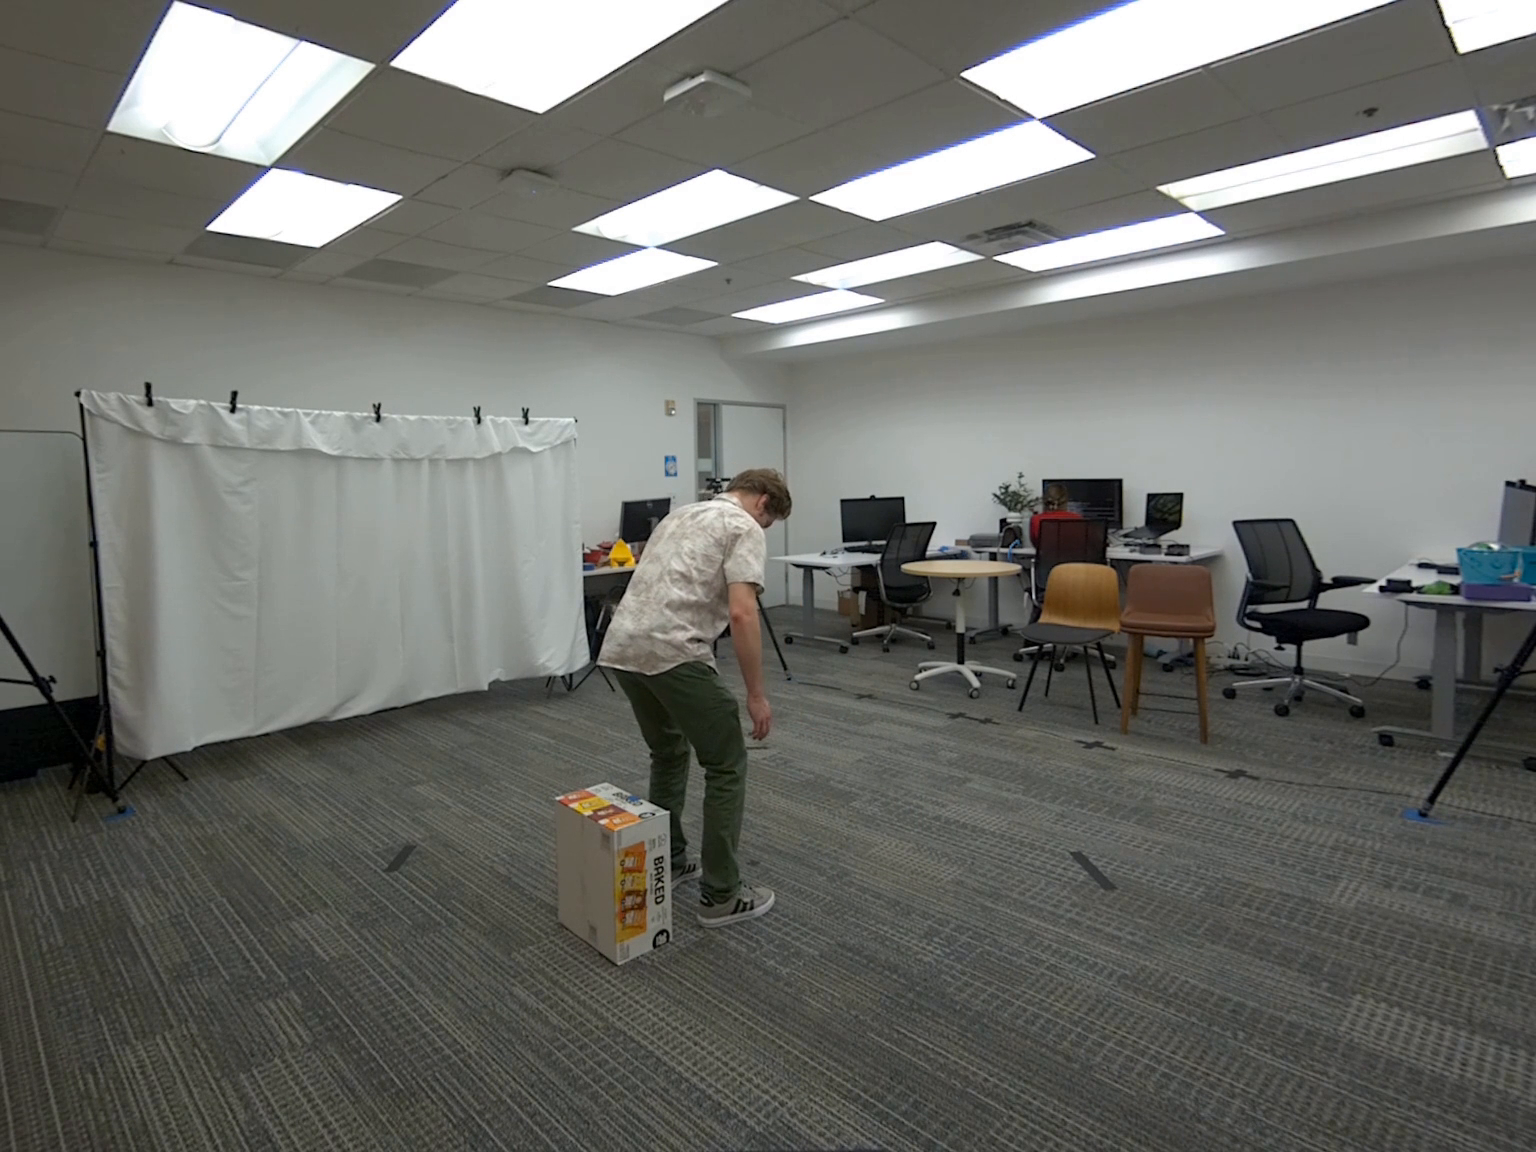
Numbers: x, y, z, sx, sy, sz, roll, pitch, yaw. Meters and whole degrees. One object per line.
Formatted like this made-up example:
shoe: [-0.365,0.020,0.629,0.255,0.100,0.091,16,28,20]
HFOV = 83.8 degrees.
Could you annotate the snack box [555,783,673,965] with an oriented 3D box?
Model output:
snack box: [-0.482,0.905,2.635,0.200,0.403,0.351,-5,6,-42]
